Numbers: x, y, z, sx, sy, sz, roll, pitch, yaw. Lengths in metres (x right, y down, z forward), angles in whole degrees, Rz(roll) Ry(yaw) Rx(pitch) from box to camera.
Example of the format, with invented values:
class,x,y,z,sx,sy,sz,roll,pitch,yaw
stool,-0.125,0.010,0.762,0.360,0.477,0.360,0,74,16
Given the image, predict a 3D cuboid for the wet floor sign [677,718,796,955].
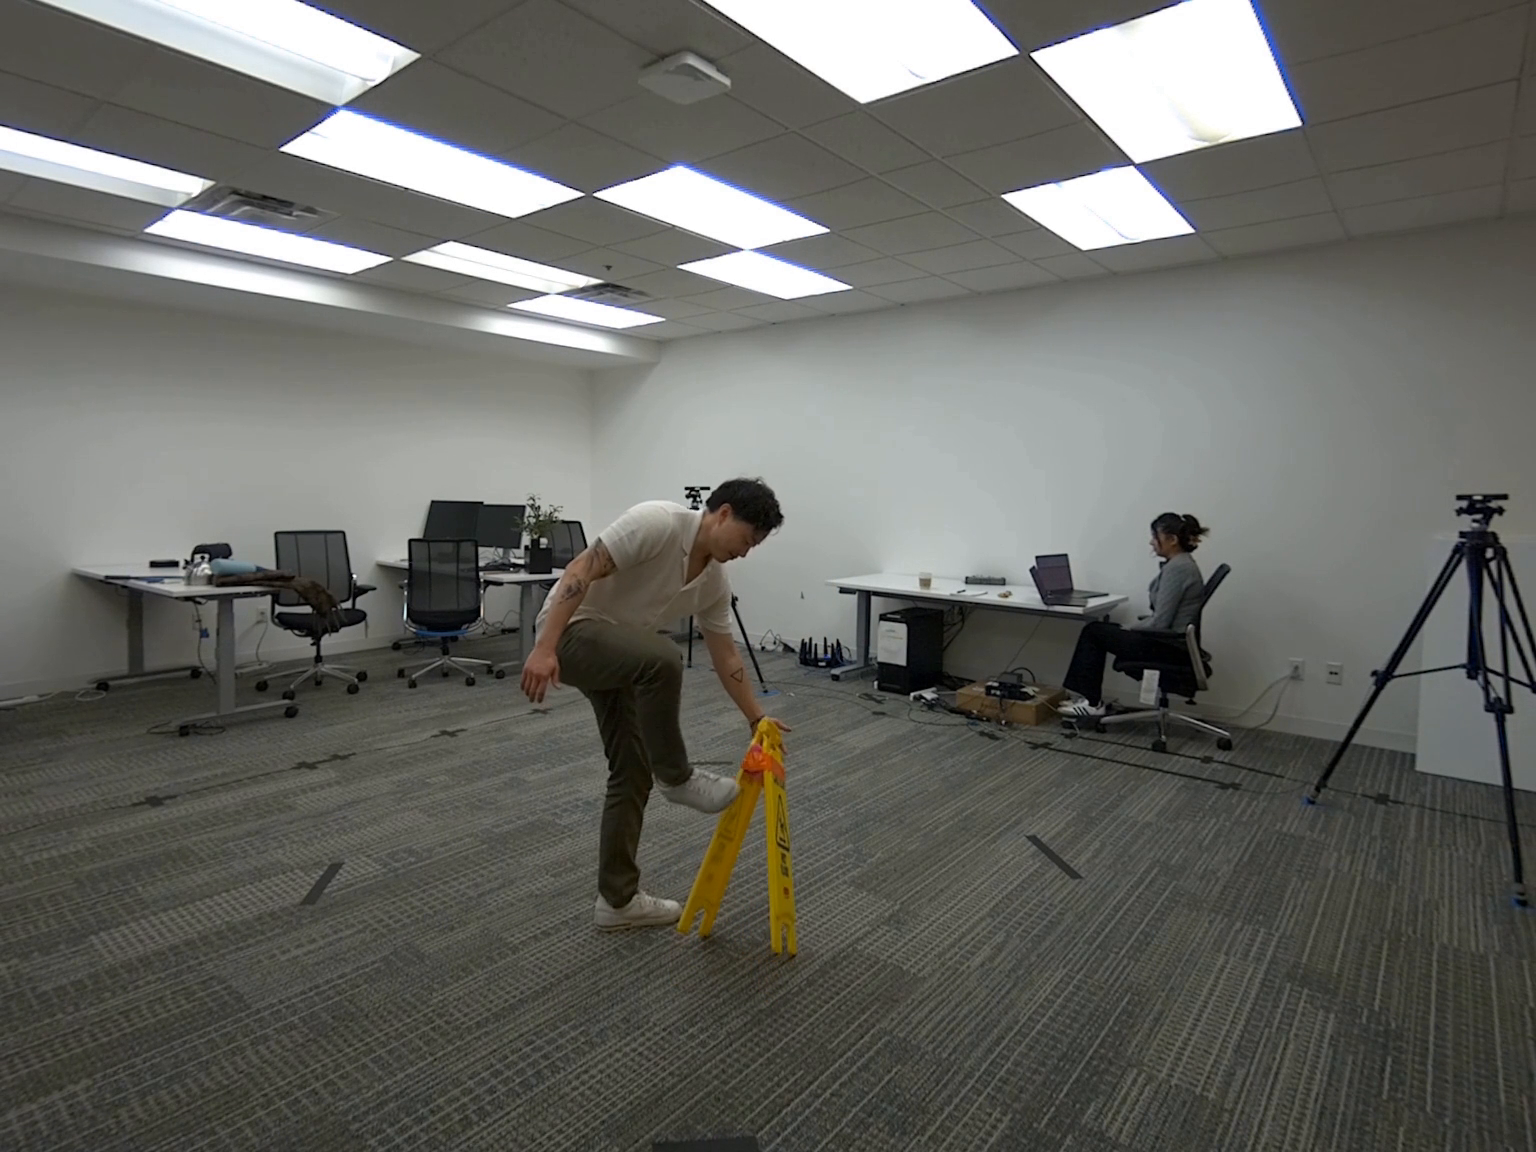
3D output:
class,x,y,z,sx,sy,sz,roll,pitch,yaw
wet floor sign,-0.044,0.777,2.604,0.296,0.656,0.272,3,-23,18
